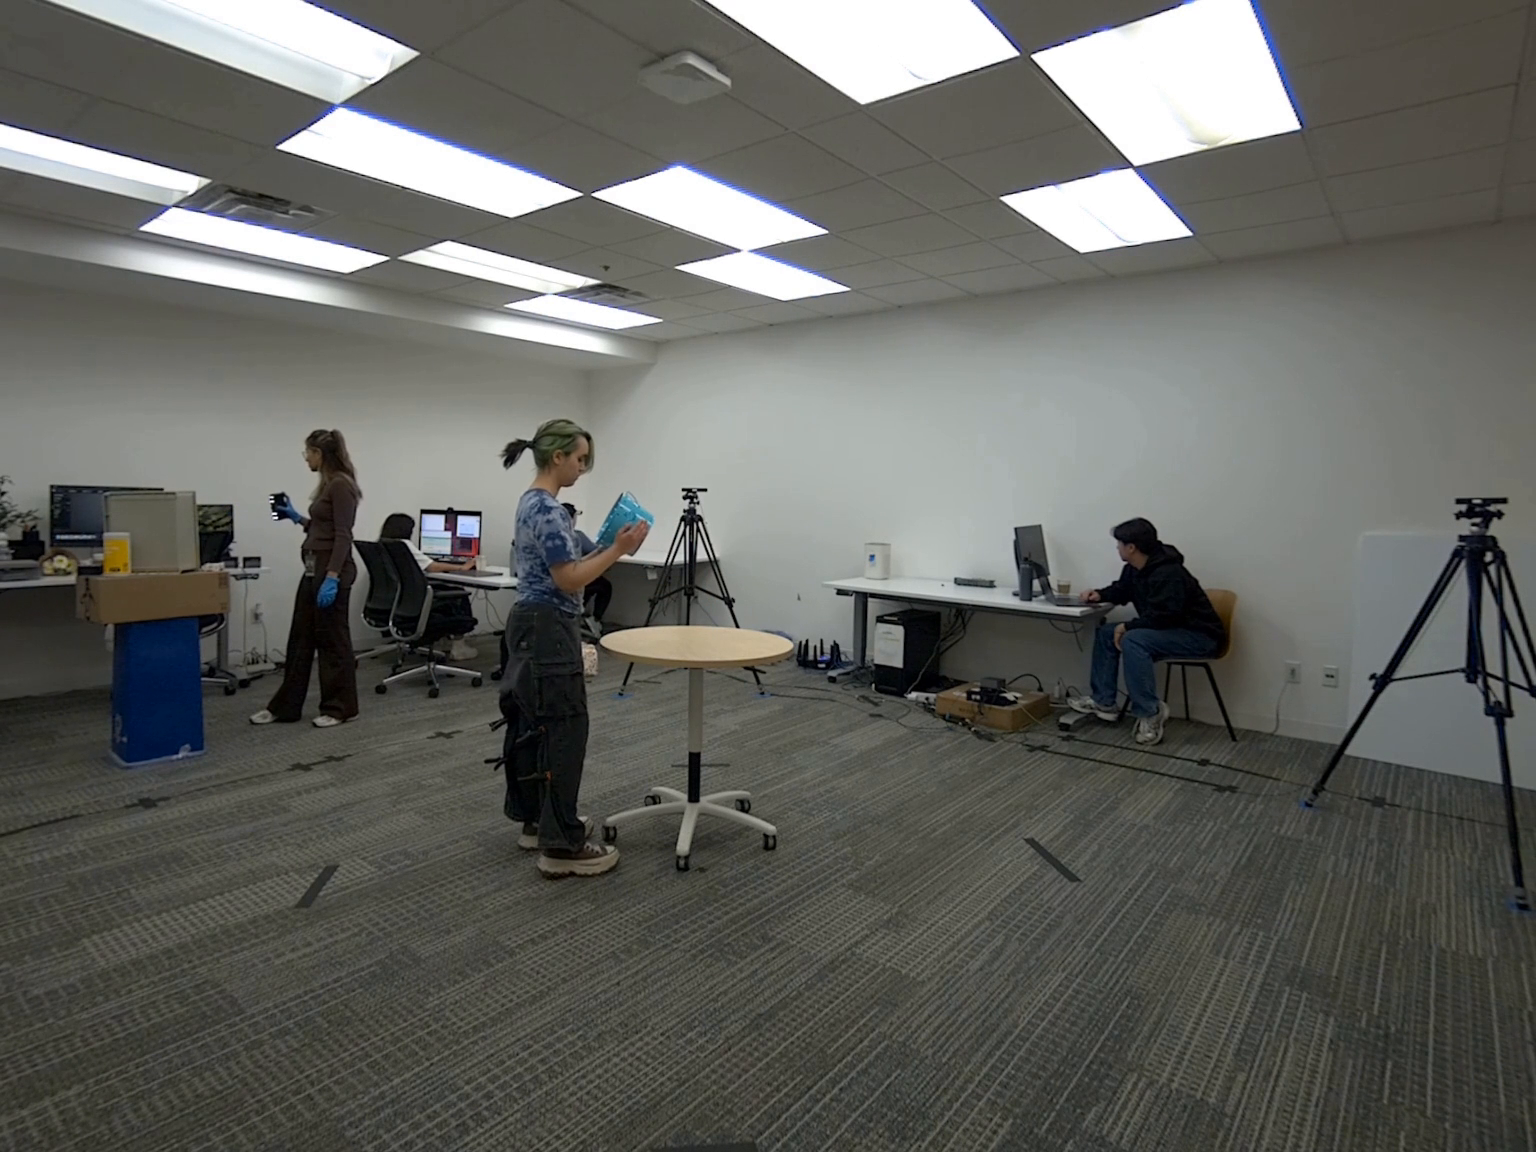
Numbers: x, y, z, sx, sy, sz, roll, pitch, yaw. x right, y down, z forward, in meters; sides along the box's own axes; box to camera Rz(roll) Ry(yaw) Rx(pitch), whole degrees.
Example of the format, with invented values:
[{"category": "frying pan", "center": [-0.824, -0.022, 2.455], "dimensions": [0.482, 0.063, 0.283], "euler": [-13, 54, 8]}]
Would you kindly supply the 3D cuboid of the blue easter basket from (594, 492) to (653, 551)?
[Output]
[{"category": "blue easter basket", "center": [-0.564, -0.191, 3.304], "dimensions": [0.153, 0.244, 0.248], "euler": [28, -3, -15]}]
